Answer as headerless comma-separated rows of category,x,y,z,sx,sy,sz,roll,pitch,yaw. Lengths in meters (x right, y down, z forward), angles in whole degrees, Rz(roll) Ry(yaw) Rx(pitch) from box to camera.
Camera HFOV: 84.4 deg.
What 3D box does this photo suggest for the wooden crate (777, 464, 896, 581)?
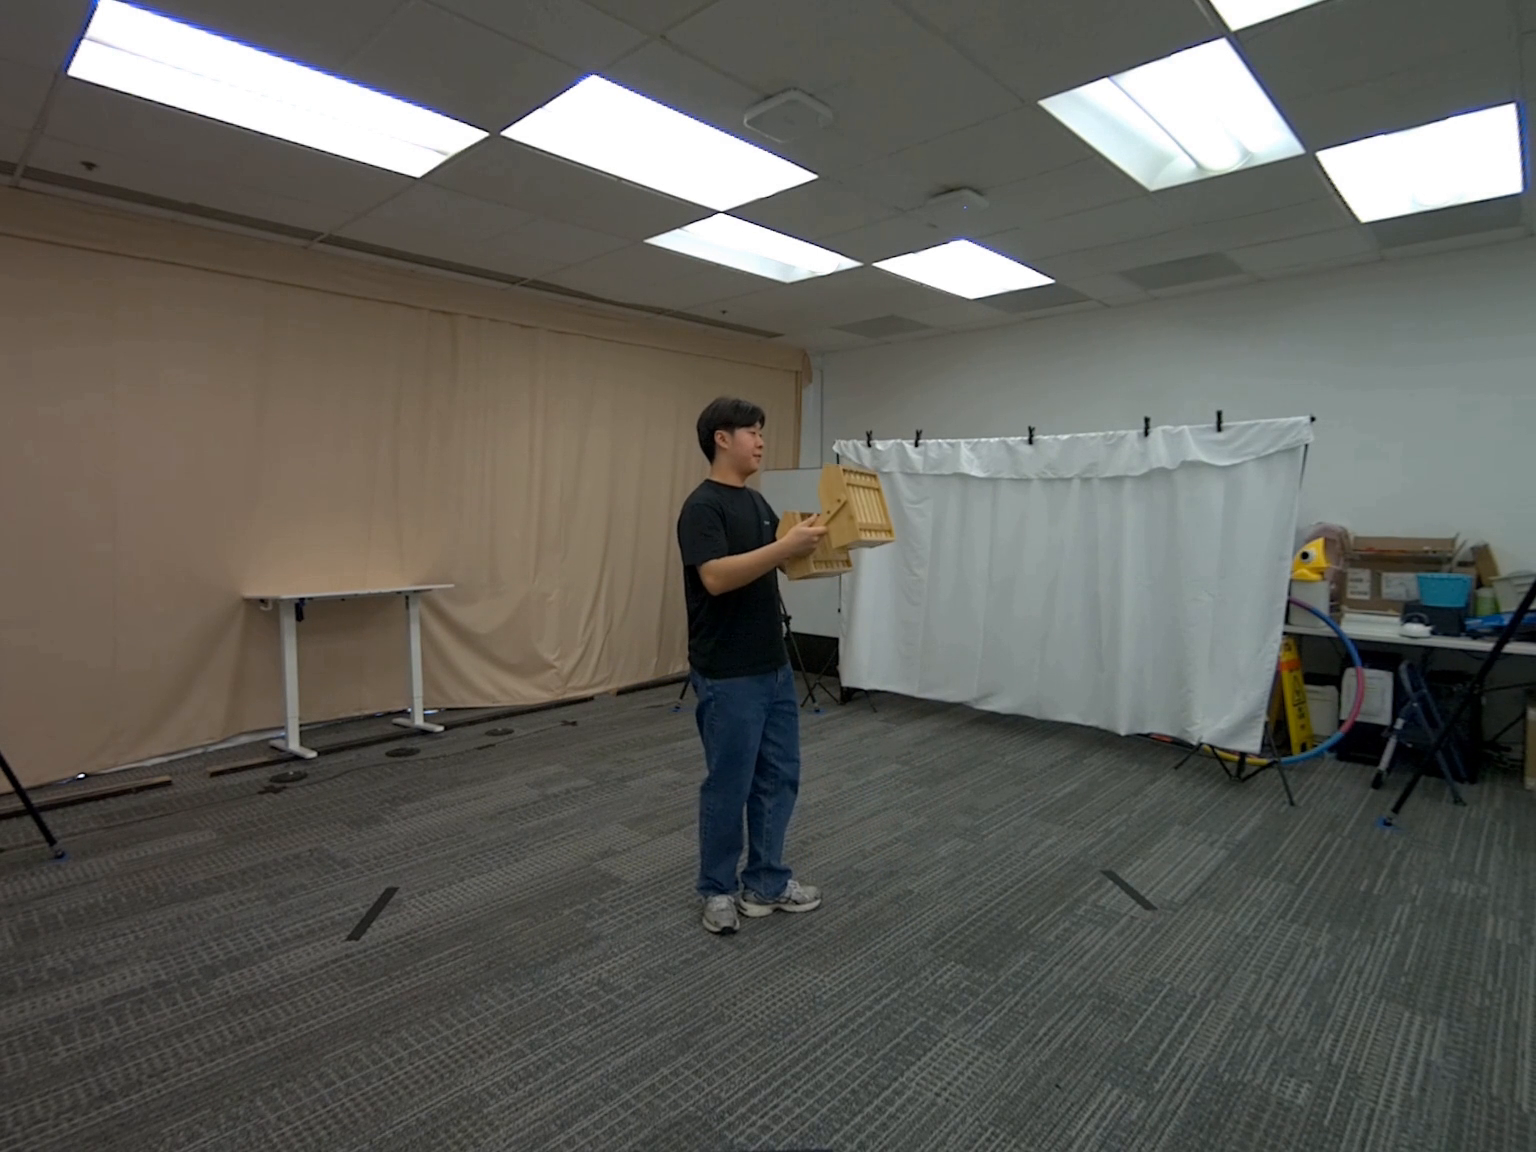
wooden crate,0.207,-0.168,2.625,0.279,0.304,0.315,-18,-9,28
